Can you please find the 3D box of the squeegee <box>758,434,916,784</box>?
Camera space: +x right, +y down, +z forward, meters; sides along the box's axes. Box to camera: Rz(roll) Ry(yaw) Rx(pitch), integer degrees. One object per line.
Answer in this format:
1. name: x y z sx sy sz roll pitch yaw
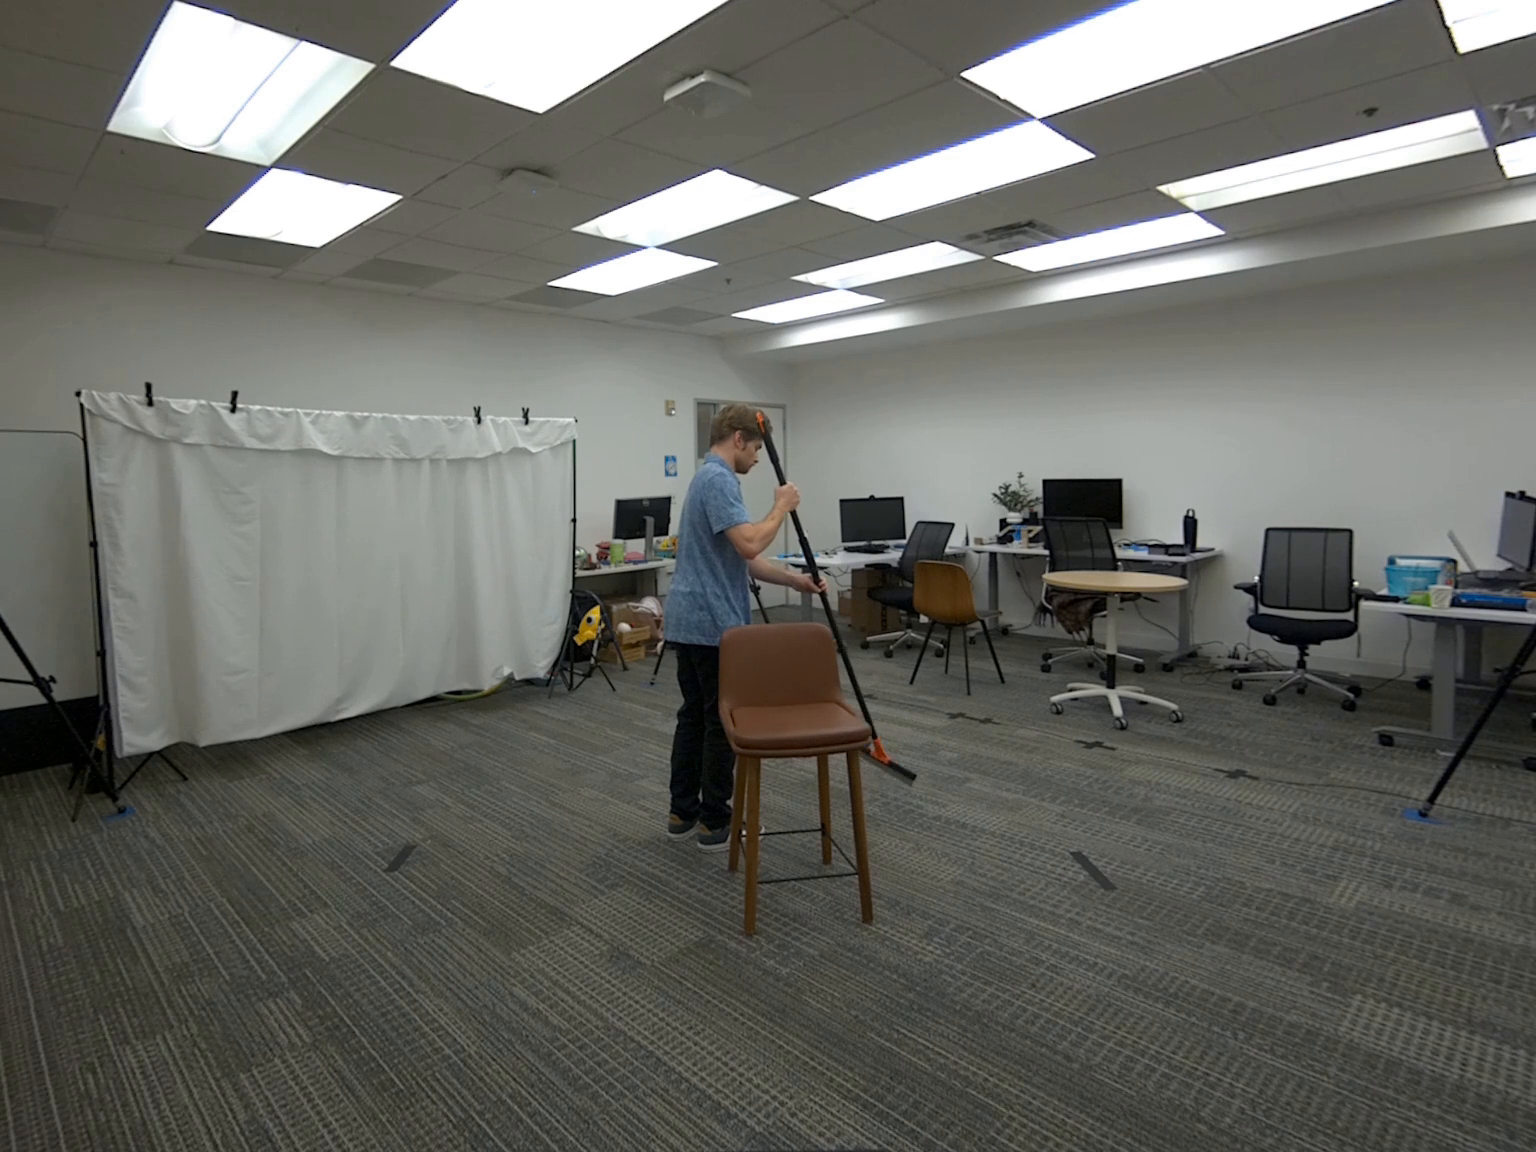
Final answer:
1. squeegee: 0.233 0.100 3.329 0.052 1.509 0.450 -26 18 -25
